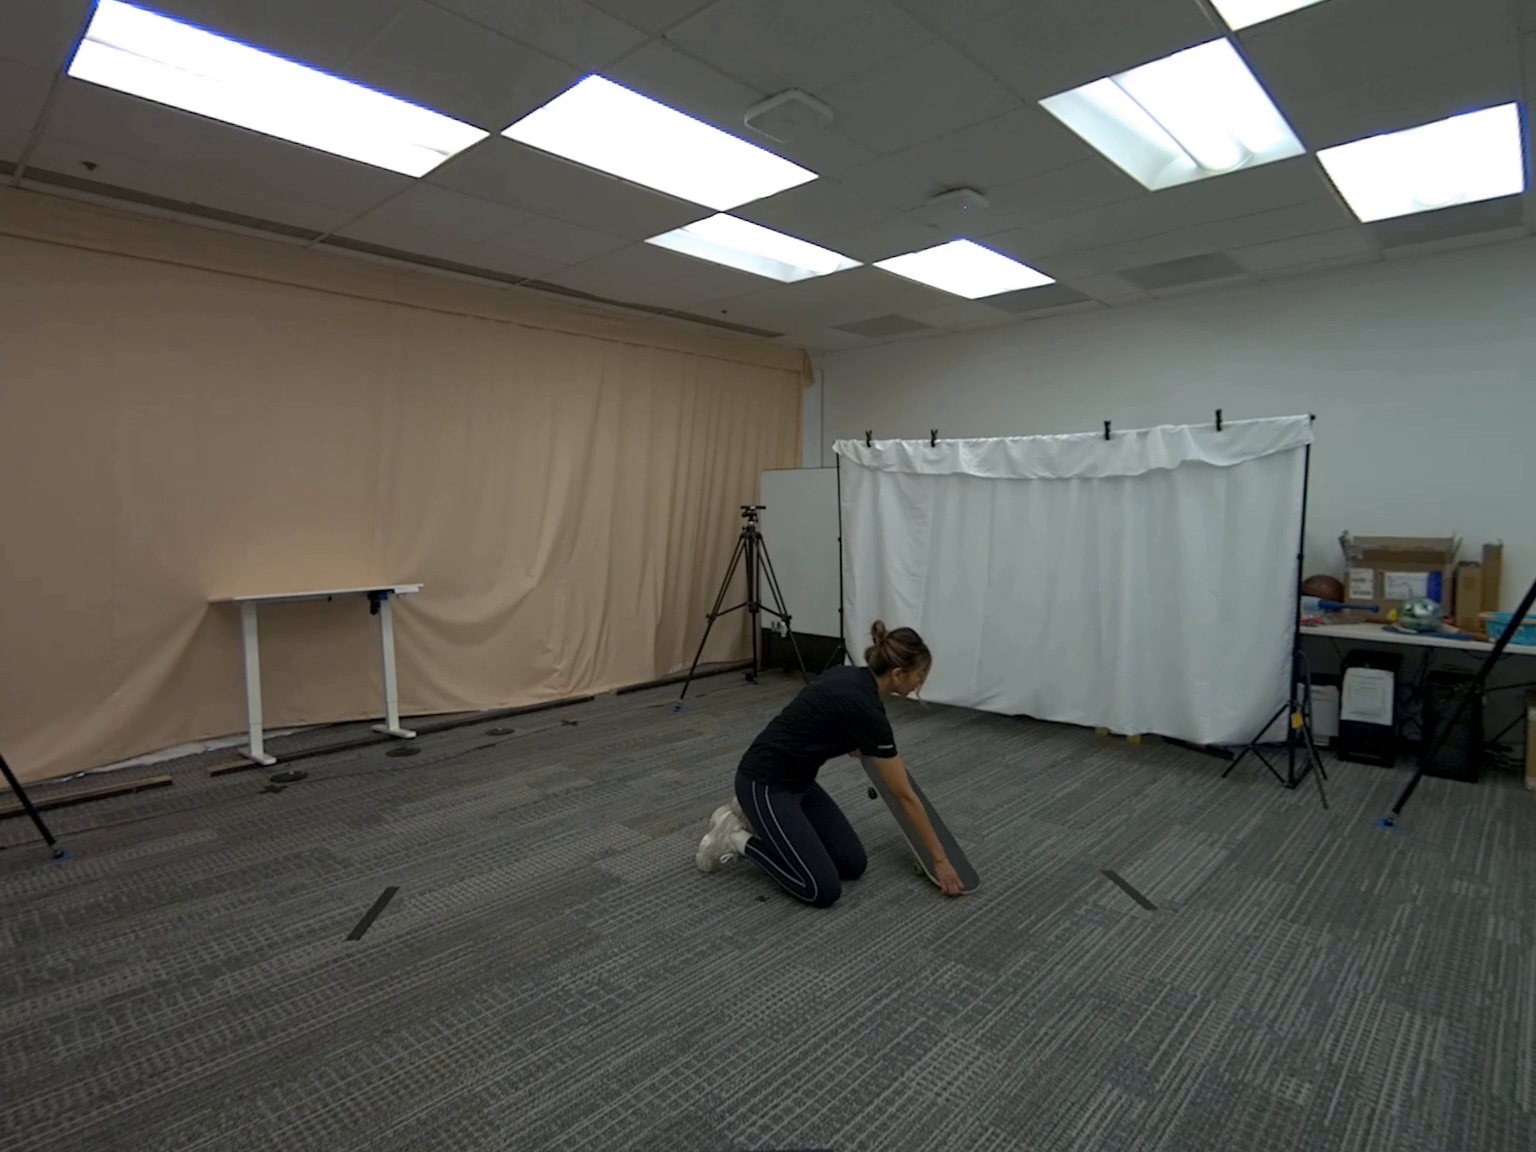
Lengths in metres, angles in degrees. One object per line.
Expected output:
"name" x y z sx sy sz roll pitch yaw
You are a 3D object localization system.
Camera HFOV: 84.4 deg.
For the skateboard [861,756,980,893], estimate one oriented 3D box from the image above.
"skateboard" 0.583 0.976 3.342 0.189 0.109 0.810 -3 30 -21
